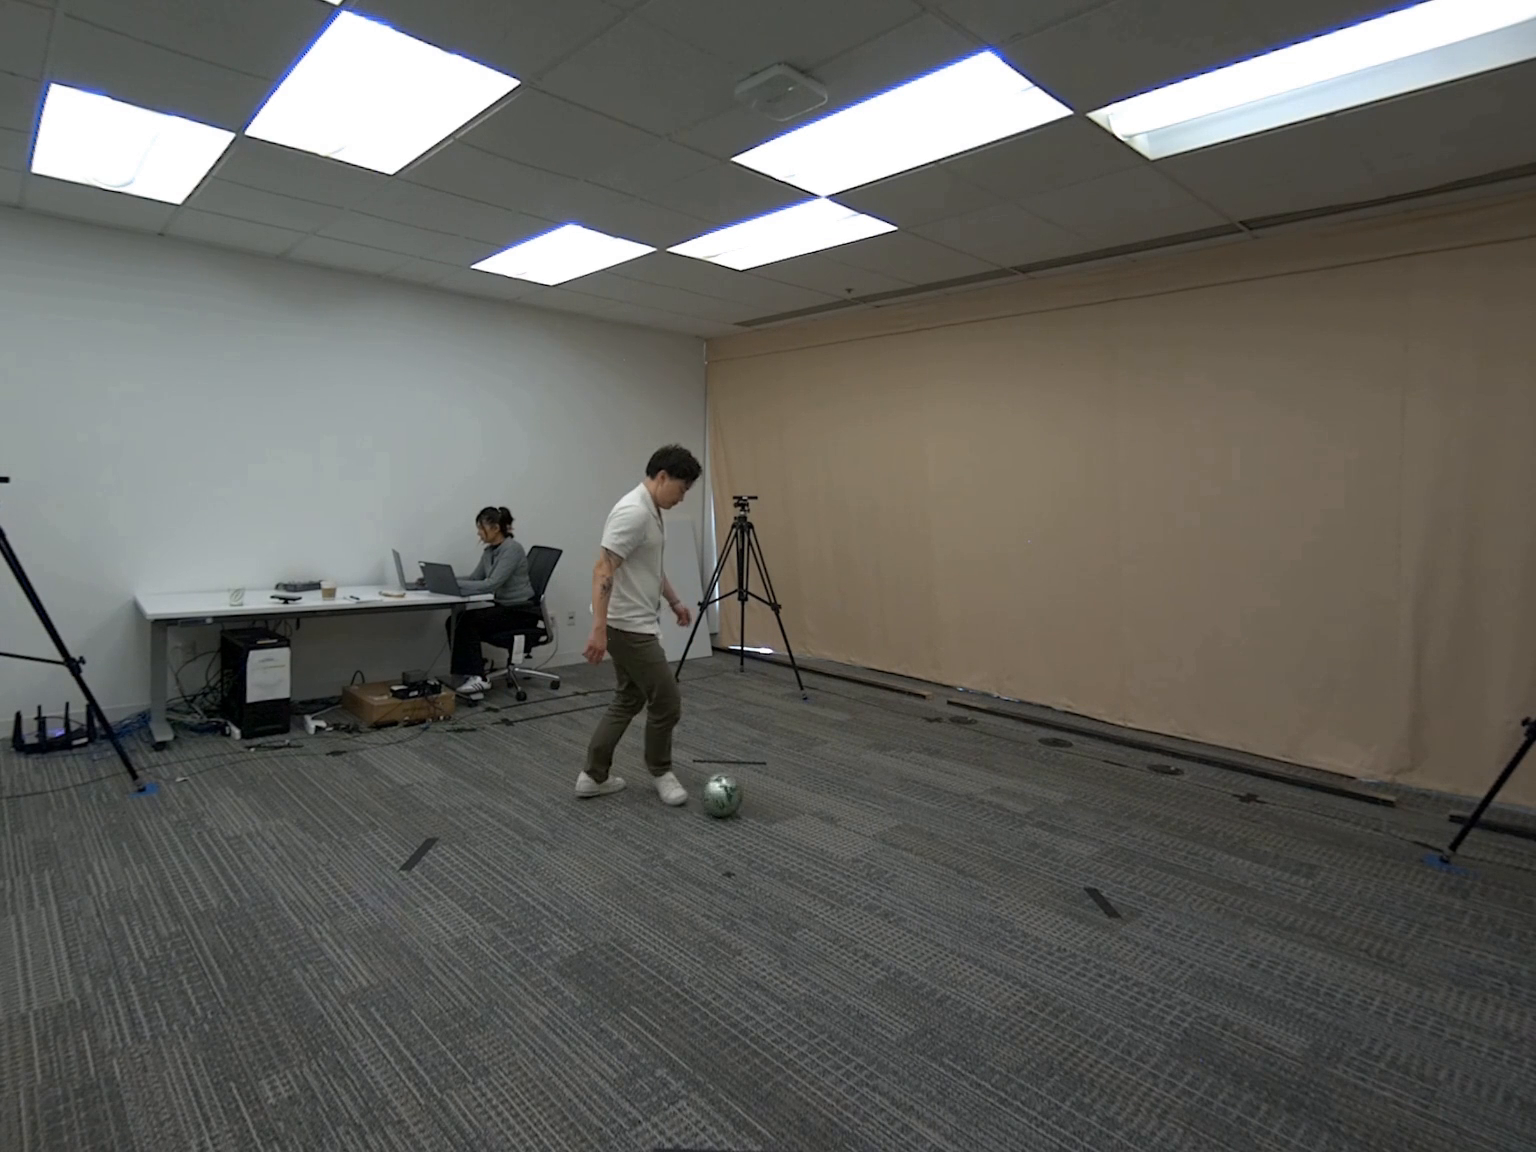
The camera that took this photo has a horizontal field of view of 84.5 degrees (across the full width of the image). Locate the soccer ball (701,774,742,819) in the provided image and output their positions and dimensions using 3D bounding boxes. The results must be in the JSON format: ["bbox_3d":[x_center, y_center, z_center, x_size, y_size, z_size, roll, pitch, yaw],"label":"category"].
[{"bbox_3d":[-0.219,0.957,3.676,0.187,0.187,0.188,1,4,-1],"label":"soccer ball"}]
